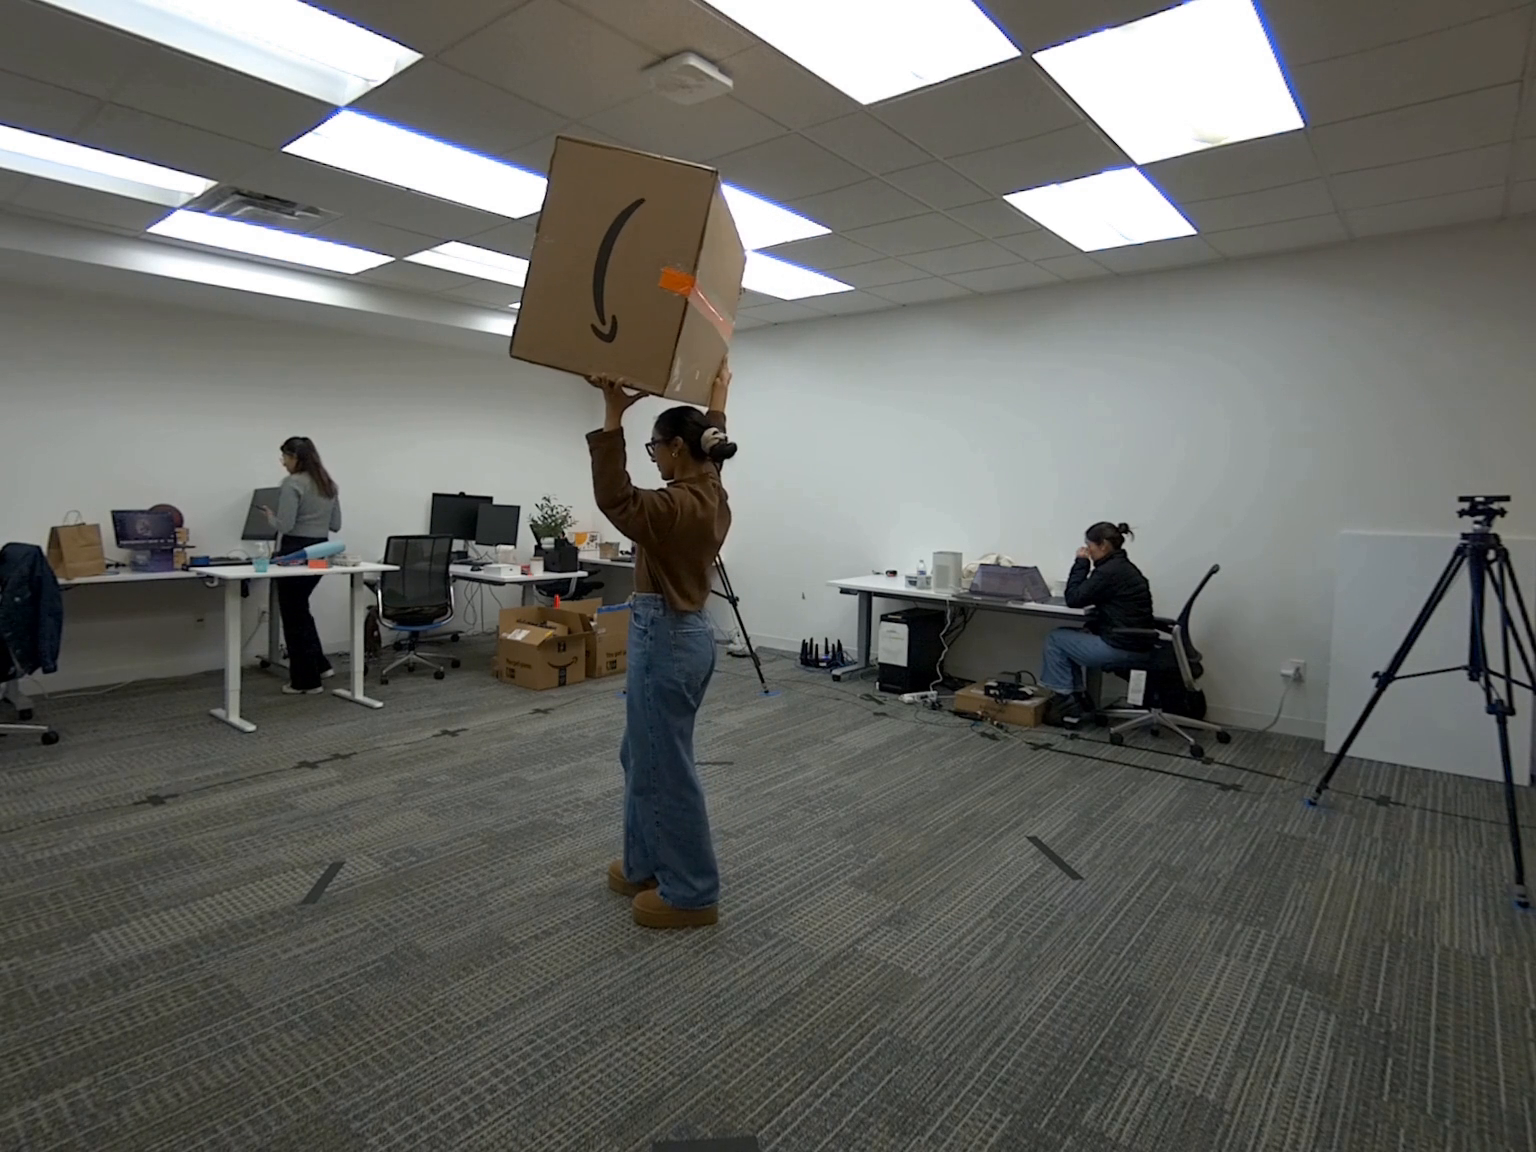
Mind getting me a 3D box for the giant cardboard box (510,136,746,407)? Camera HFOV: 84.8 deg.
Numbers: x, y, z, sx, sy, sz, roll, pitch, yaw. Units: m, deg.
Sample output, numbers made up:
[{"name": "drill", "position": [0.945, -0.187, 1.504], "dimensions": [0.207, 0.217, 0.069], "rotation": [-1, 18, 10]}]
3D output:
[{"name": "giant cardboard box", "position": [-0.383, -0.869, 2.659], "dimensions": [0.428, 0.574, 1.028], "rotation": [15, 10, 1]}]
